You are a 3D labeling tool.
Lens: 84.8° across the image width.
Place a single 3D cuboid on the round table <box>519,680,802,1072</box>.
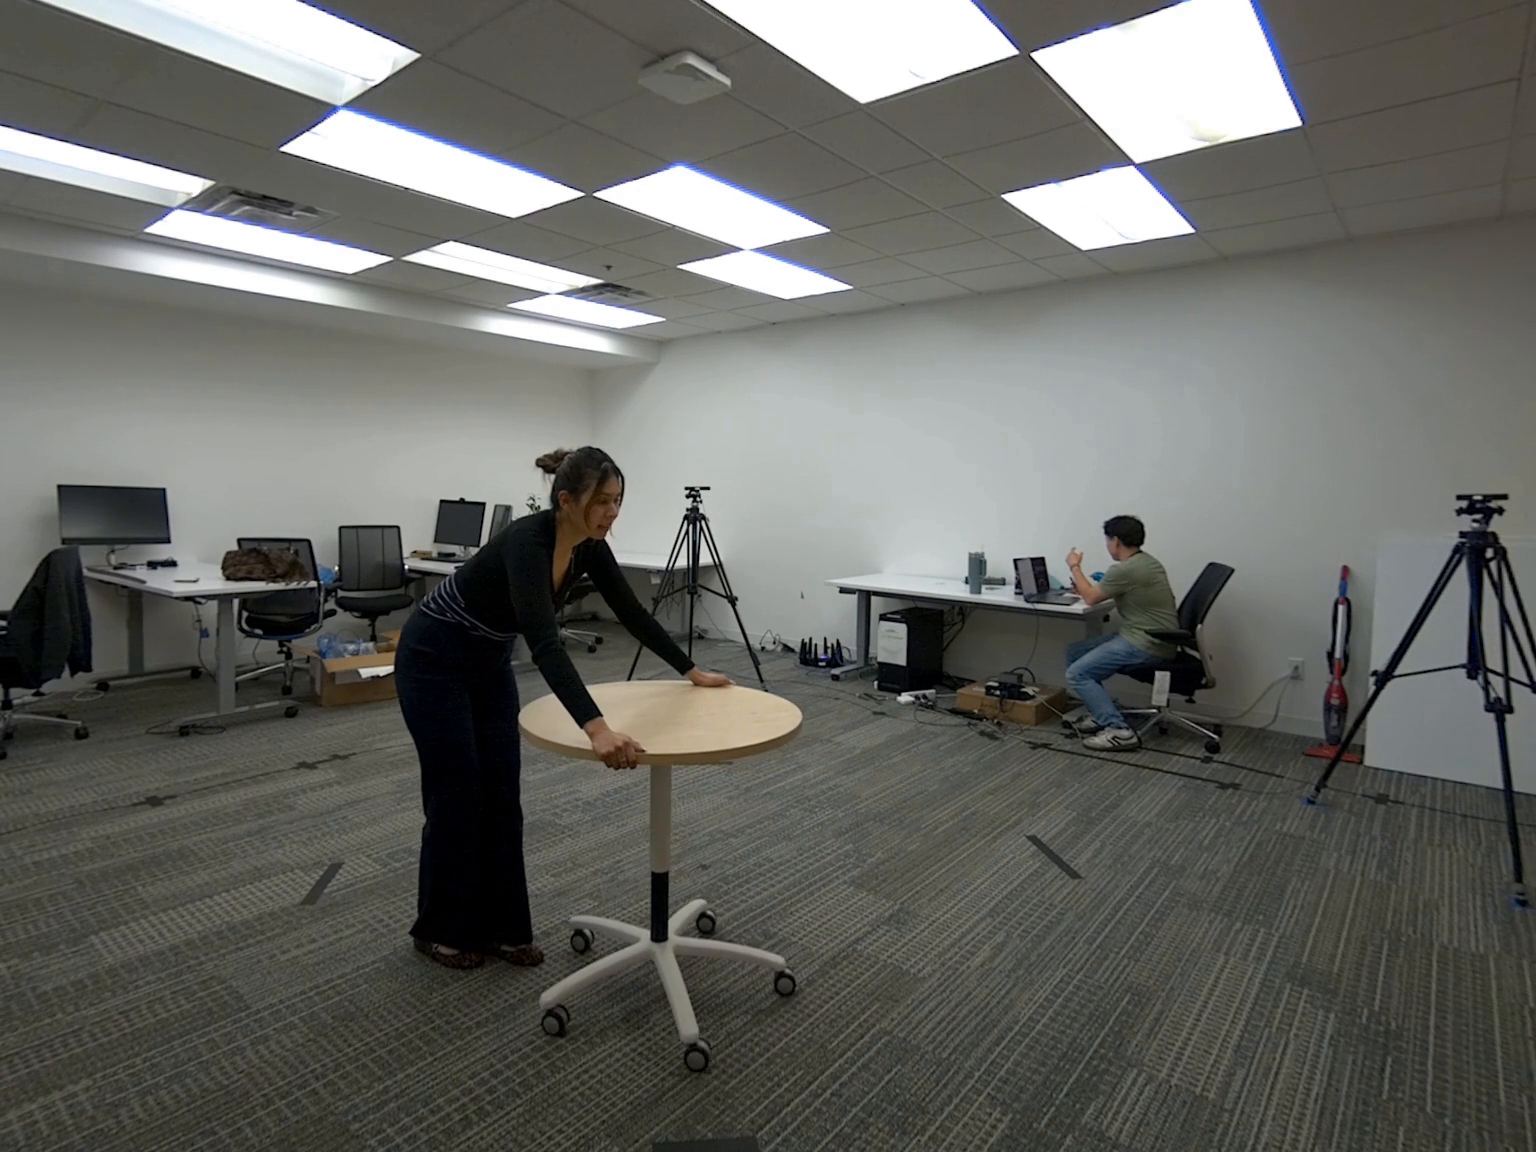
[{"bbox_3d":[-0.293,0.758,2.343,0.763,0.791,0.768,1,4,-2],"label":"round table"}]
